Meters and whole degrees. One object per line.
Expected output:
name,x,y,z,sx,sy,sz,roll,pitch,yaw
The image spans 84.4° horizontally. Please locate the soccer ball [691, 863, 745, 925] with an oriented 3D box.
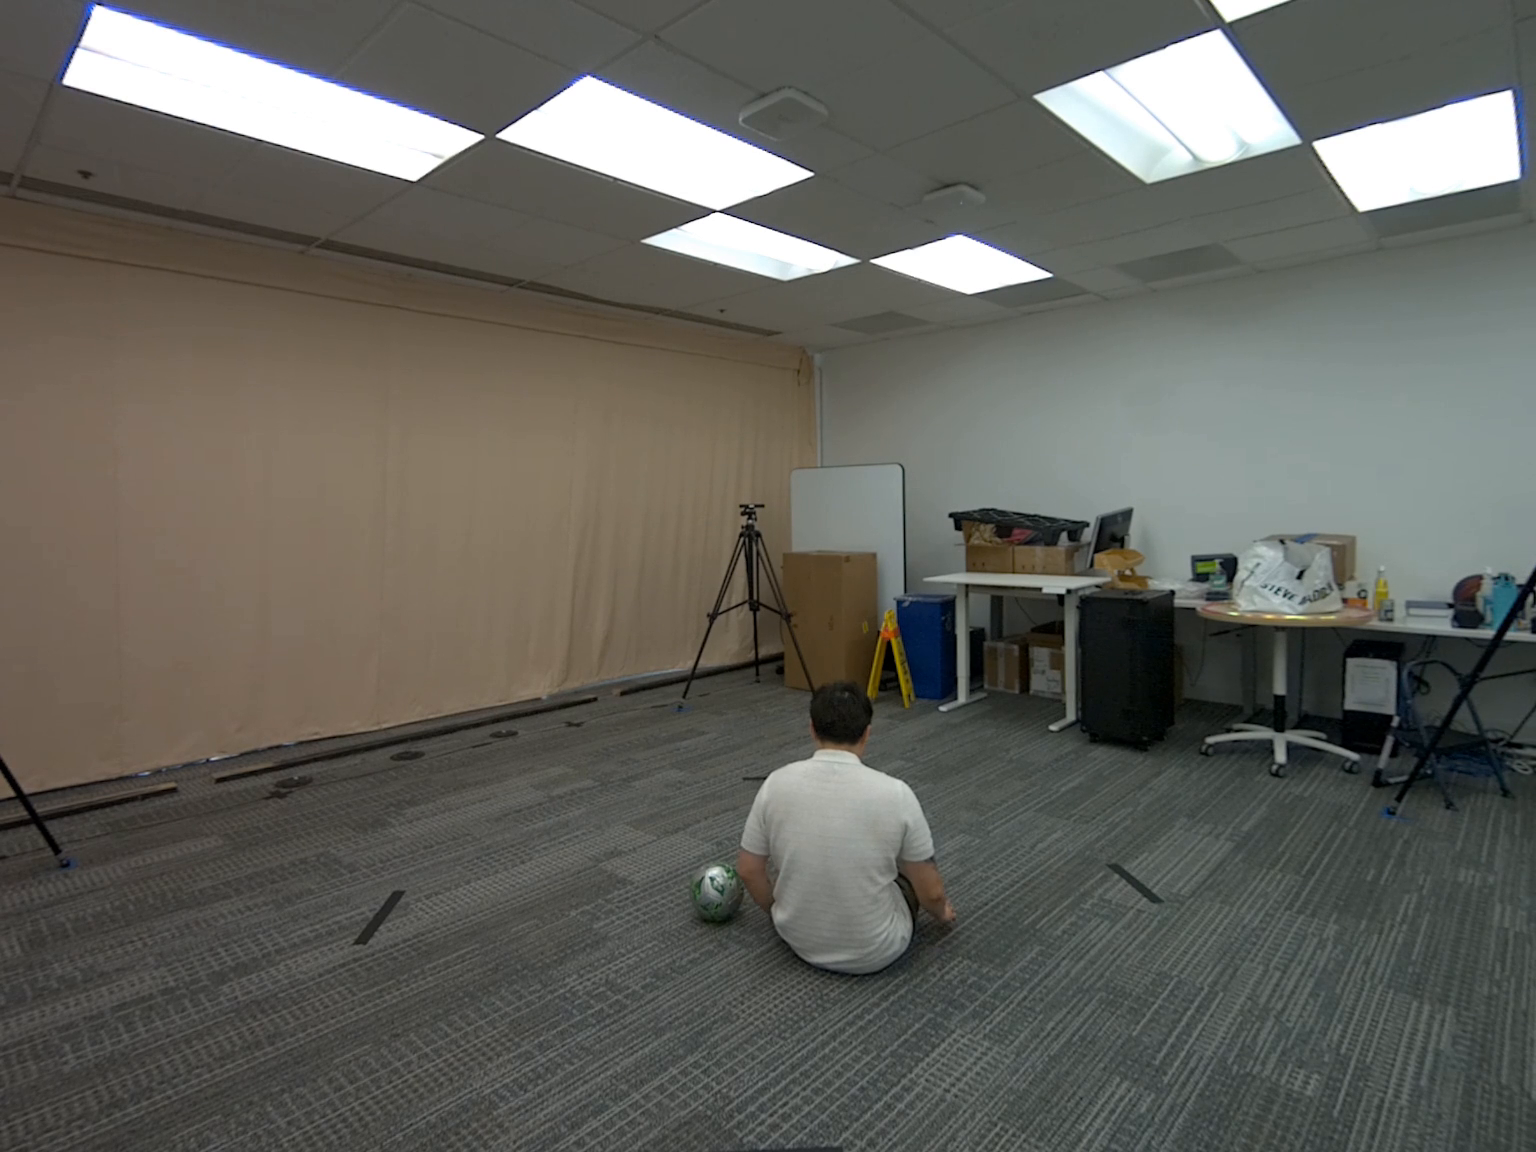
soccer ball,-0.170,1.061,2.843,0.187,0.187,0.188,-1,4,-2
